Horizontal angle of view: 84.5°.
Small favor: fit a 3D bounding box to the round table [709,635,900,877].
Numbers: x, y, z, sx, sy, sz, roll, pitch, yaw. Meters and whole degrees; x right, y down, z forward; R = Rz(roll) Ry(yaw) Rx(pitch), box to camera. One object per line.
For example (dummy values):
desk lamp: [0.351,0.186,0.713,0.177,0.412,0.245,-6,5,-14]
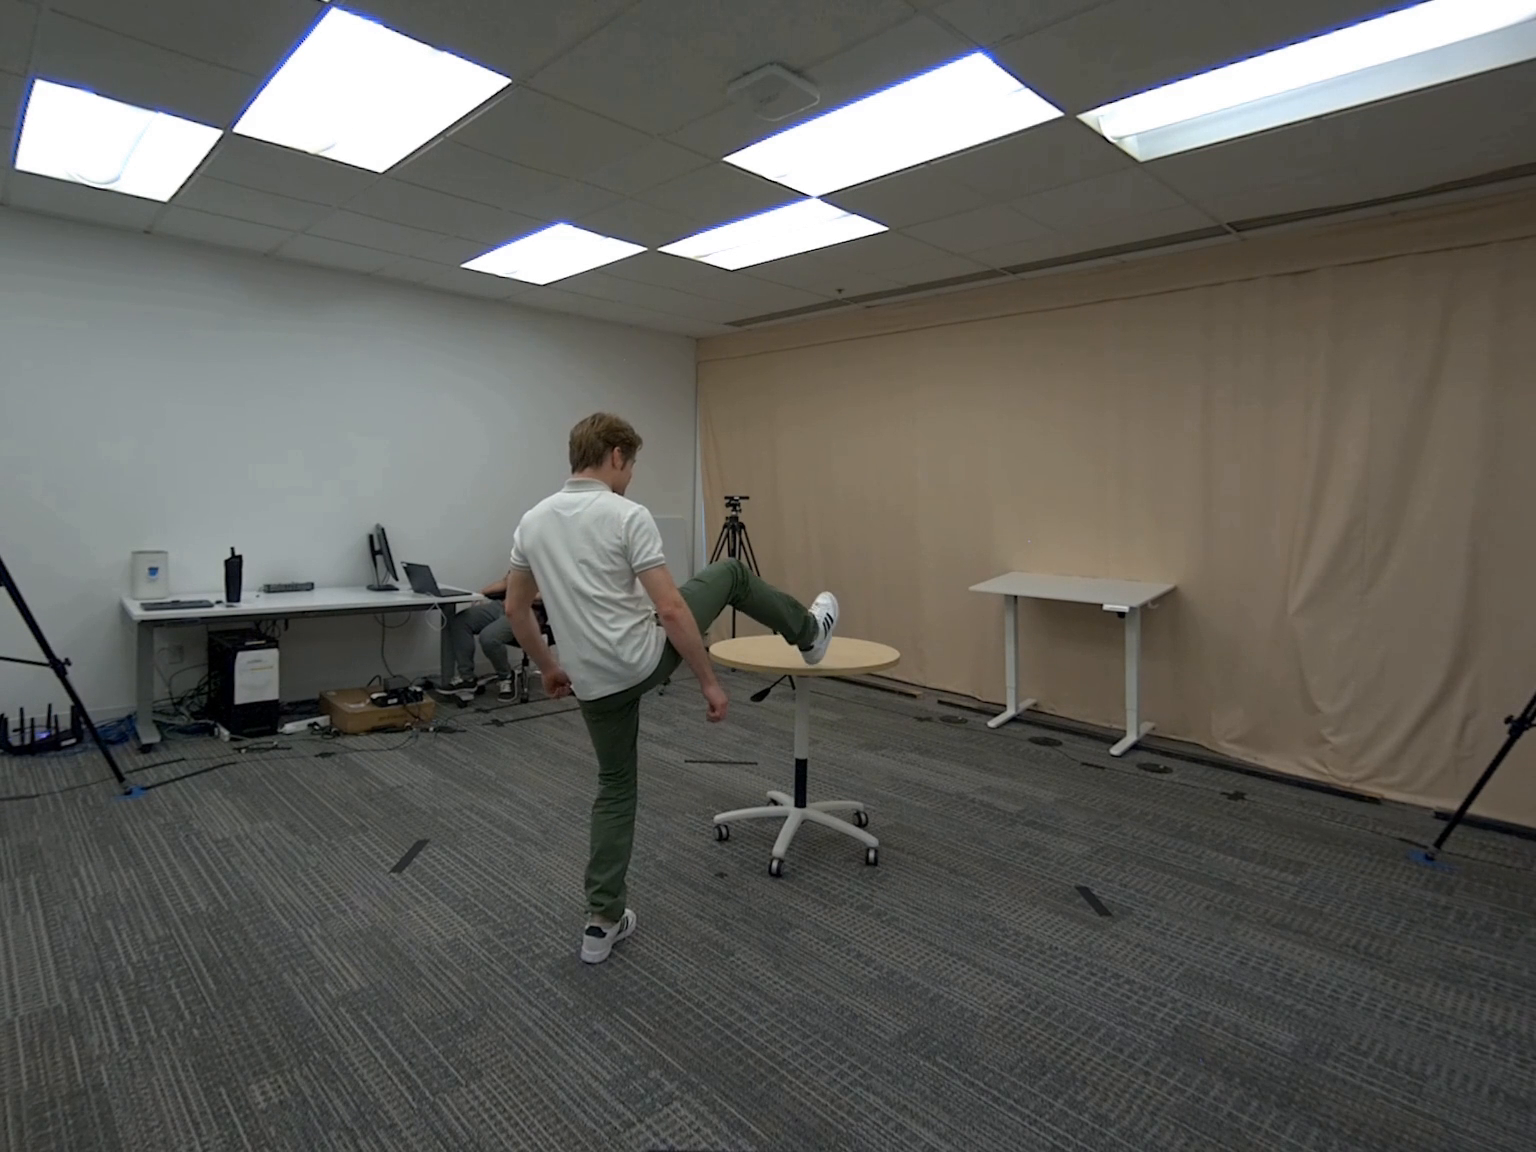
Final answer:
round table: [0.132,0.693,3.417,0.763,0.792,0.766,1,4,-1]
